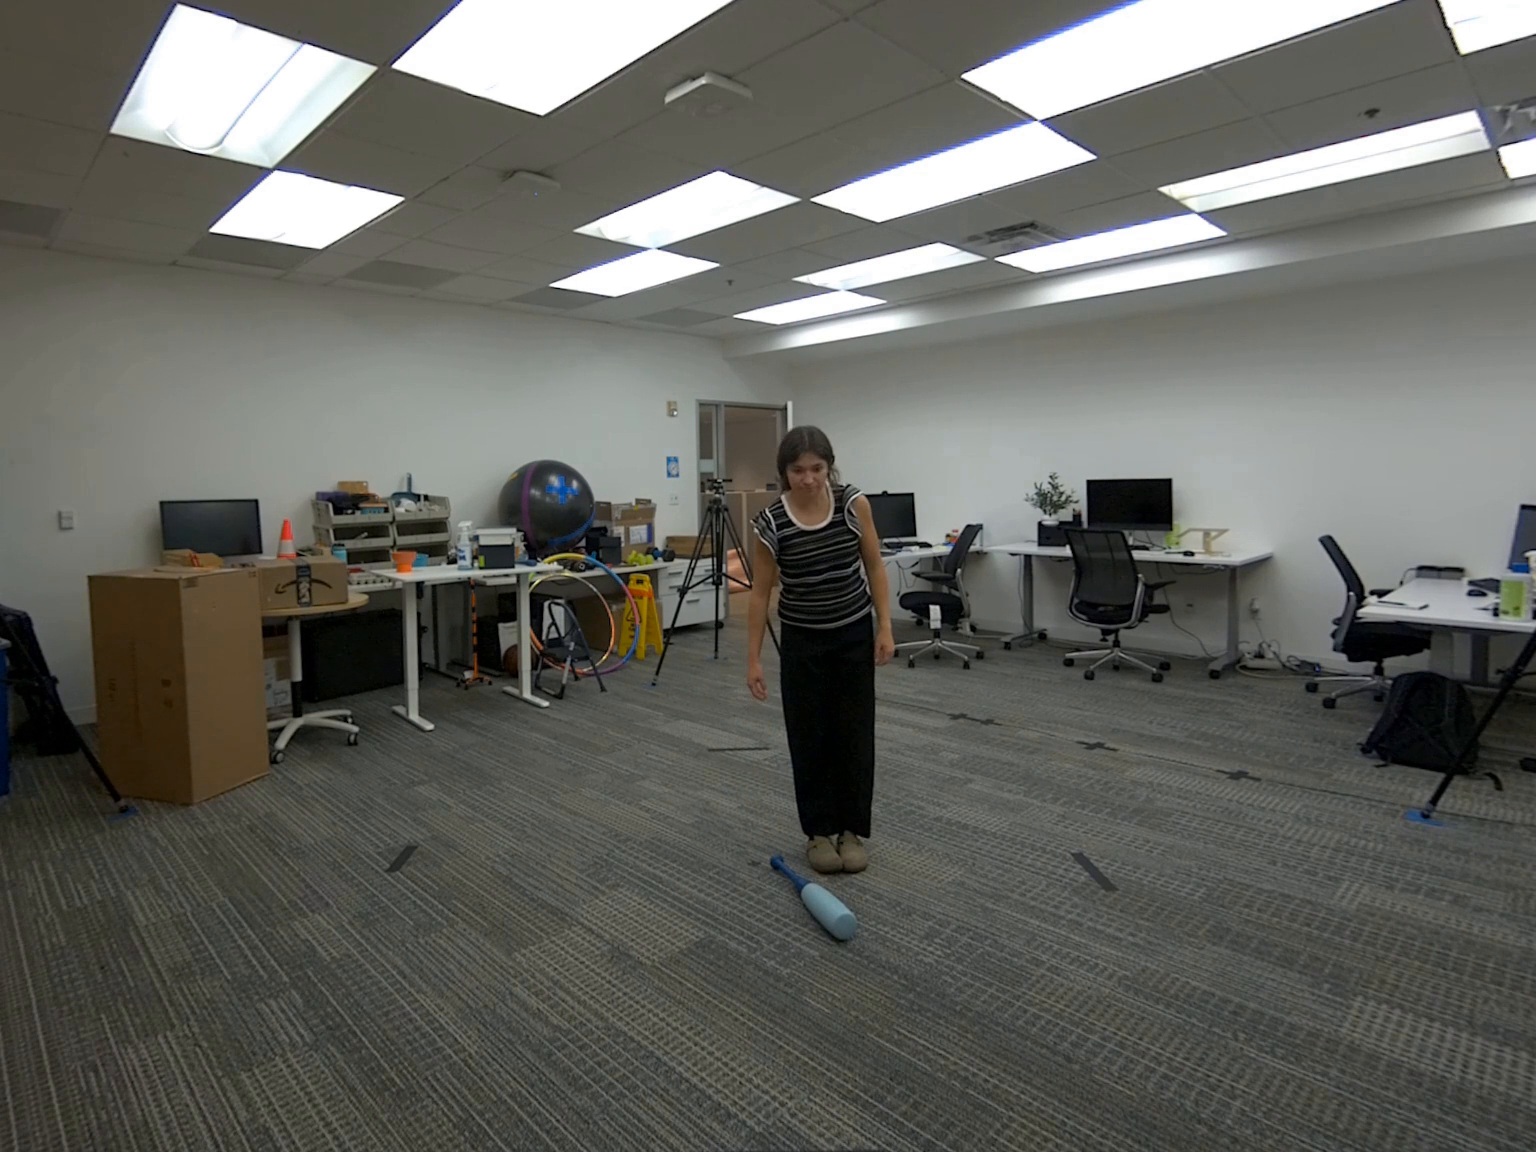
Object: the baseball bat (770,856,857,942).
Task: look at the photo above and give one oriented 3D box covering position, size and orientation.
[{"bbox_3d":[0.135,1.042,2.808,0.087,0.089,0.554,-3,4,-22],"label":"baseball bat"}]
